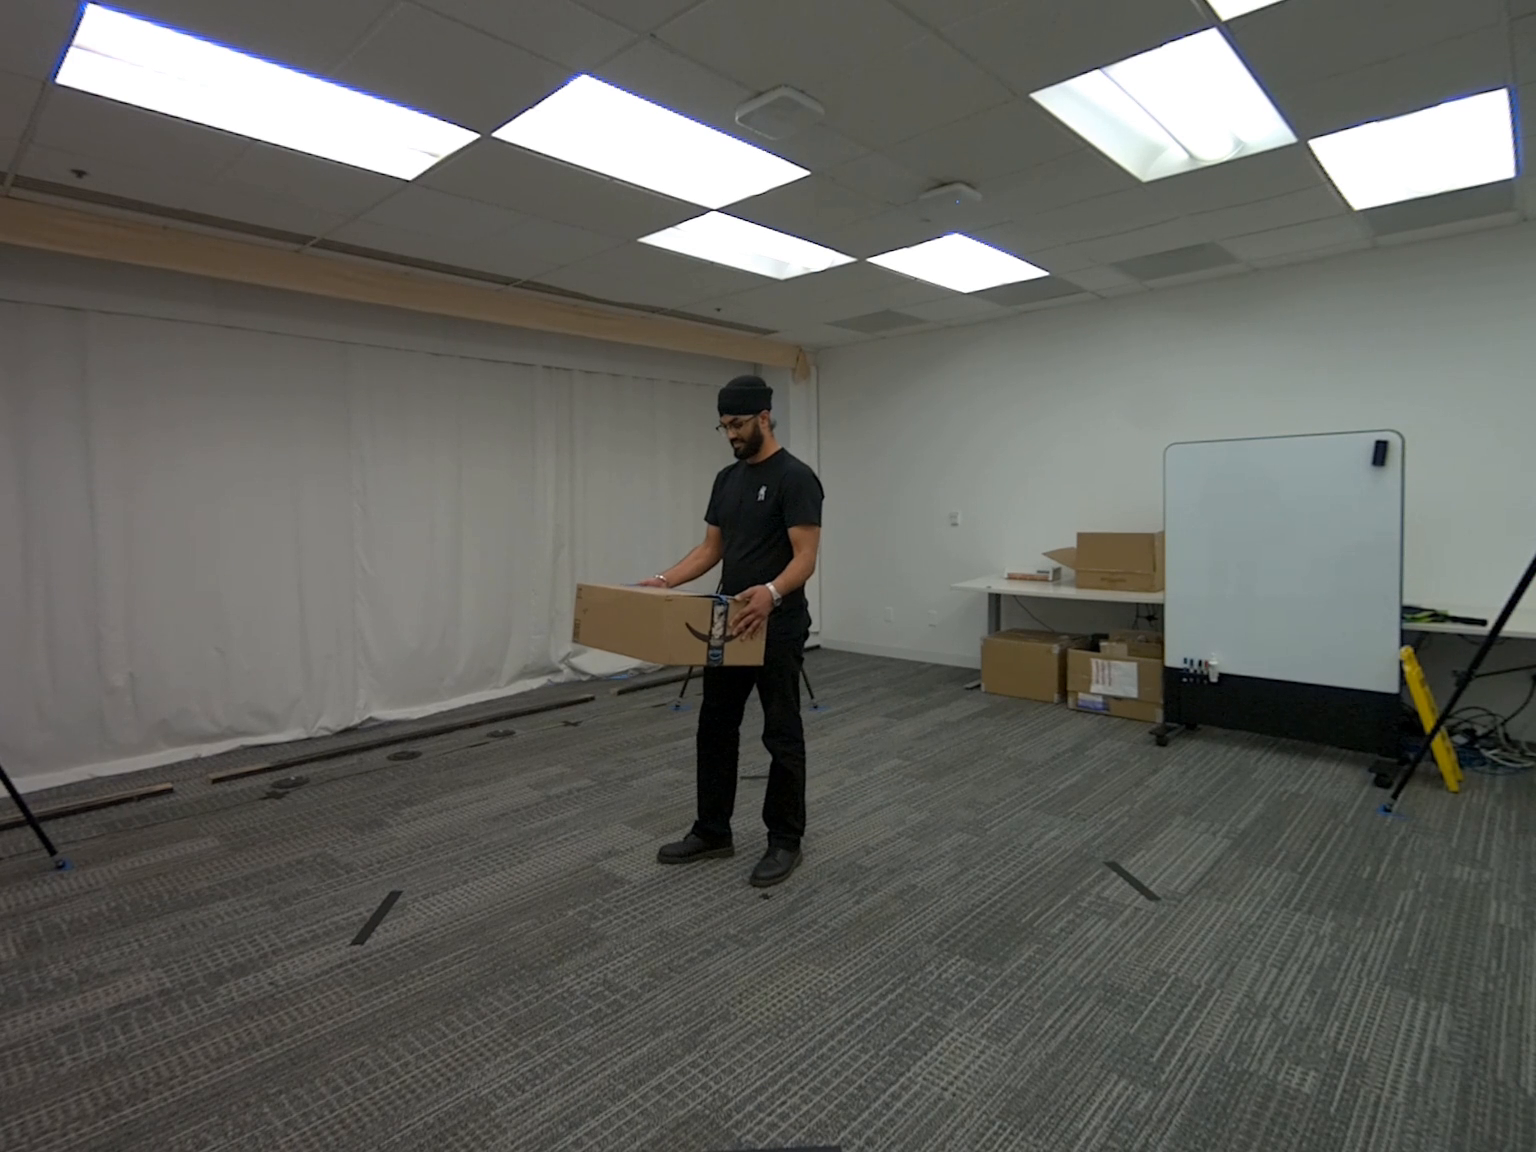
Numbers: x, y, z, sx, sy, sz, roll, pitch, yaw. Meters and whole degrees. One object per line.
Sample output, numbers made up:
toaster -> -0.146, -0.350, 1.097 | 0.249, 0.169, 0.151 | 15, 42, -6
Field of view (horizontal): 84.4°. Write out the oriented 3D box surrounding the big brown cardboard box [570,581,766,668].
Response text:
big brown cardboard box -> -0.336, 0.158, 2.897 | 0.404, 0.233, 0.608 | 6, -2, -42
